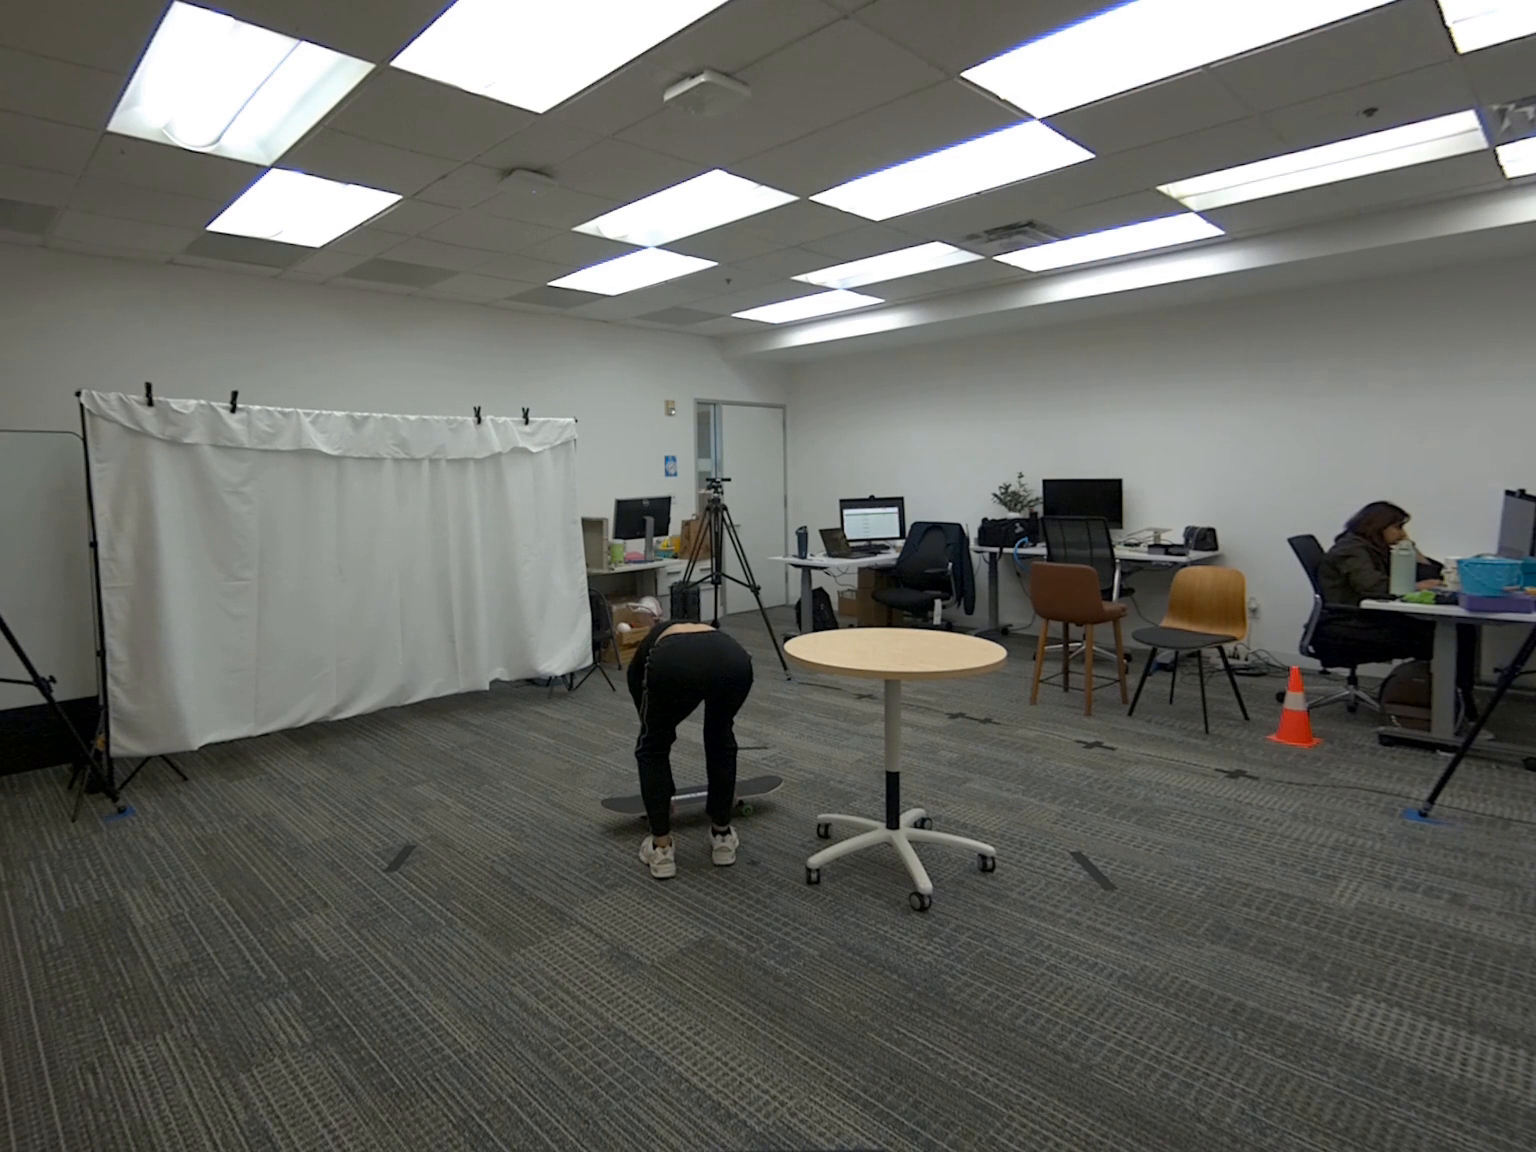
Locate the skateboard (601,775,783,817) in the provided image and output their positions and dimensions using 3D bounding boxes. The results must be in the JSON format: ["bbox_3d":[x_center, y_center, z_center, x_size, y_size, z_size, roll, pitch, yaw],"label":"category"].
[{"bbox_3d":[-0.298,0.933,3.534,0.772,0.110,0.198,-3,7,-20],"label":"skateboard"}]
